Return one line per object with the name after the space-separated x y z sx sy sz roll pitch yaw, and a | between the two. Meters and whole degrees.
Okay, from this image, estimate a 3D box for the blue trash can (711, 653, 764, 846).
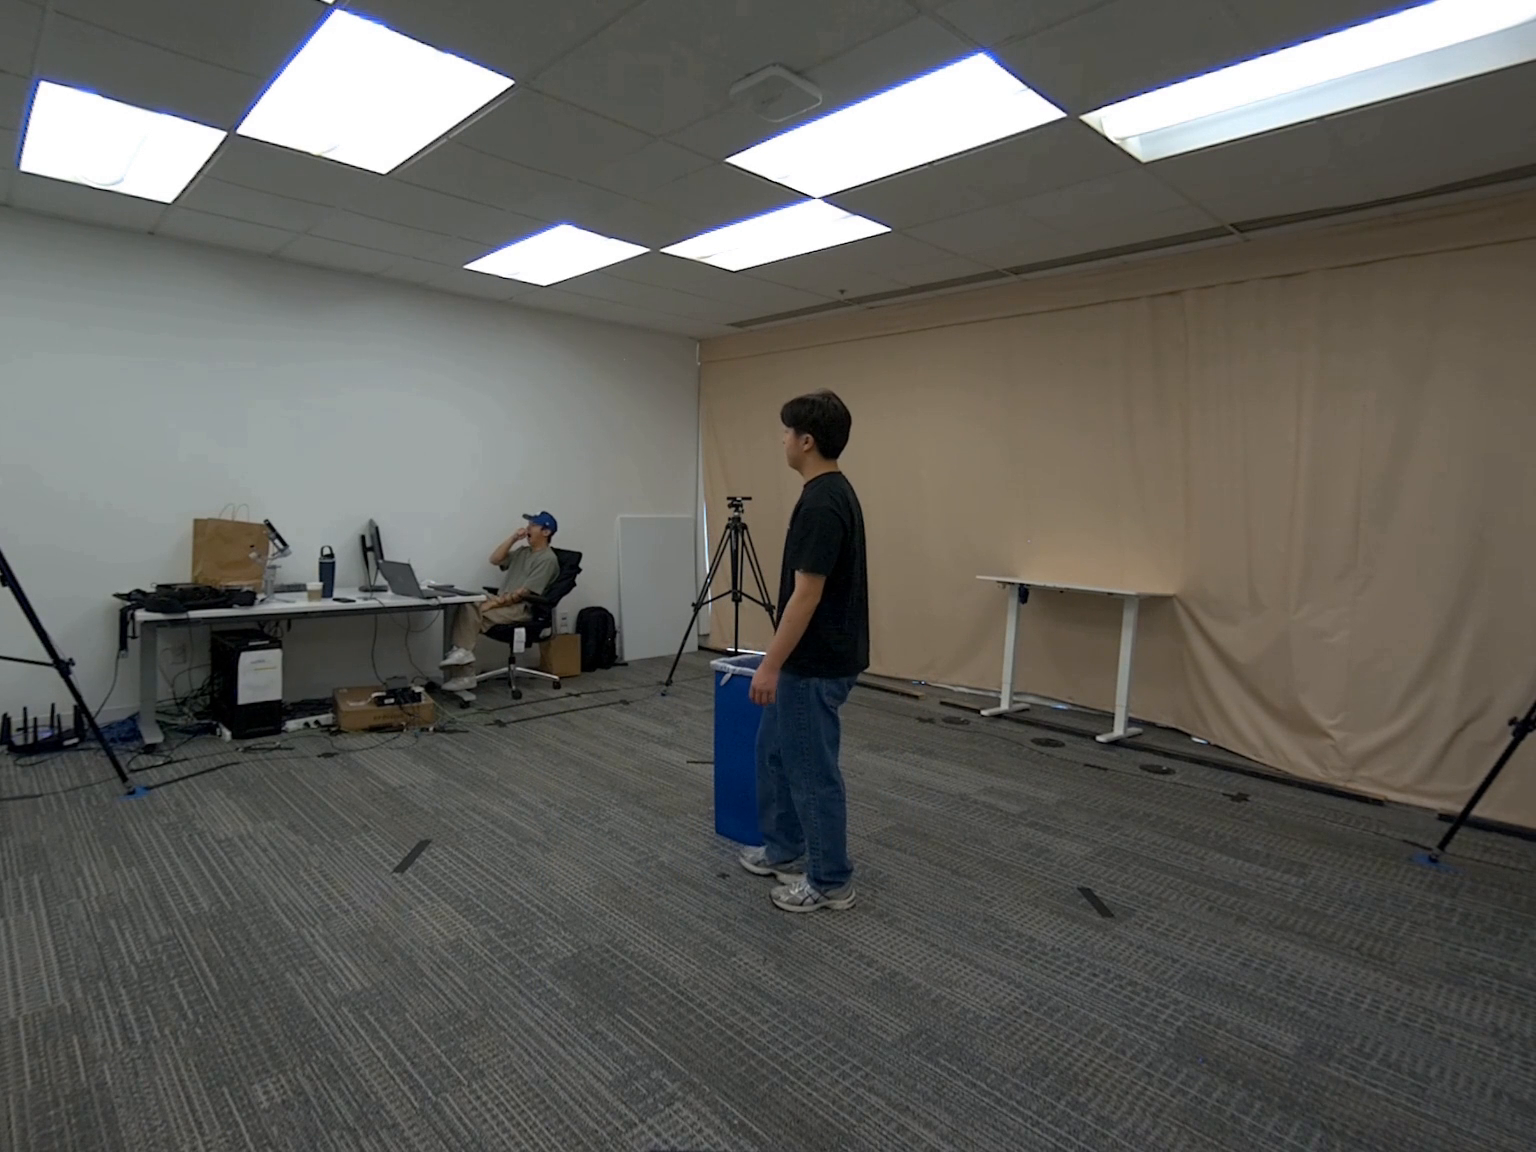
-0.010 0.718 3.509 0.388 0.712 0.365 4 4 42 | blue trash can
